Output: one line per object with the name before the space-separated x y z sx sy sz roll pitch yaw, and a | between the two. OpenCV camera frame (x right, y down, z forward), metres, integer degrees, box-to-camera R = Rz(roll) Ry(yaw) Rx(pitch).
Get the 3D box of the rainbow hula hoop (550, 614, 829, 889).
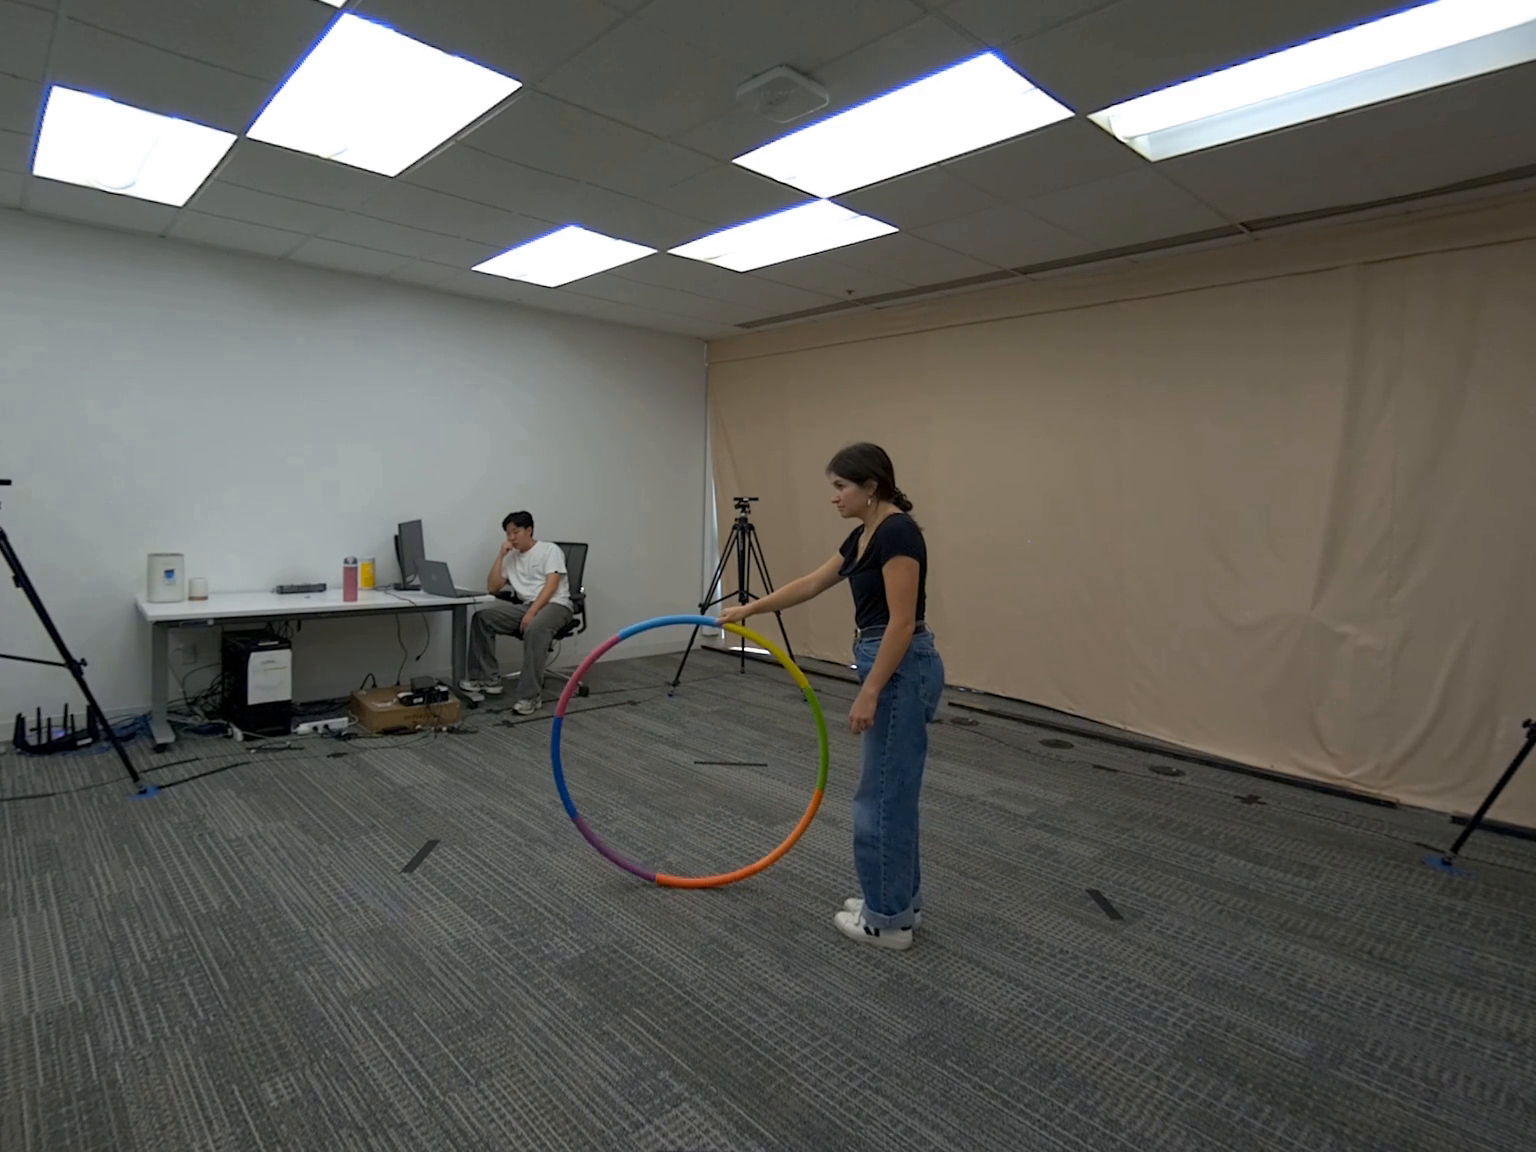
rainbow hula hoop | -0.282 0.633 2.980 0.981 0.976 0.035 2 3 3
